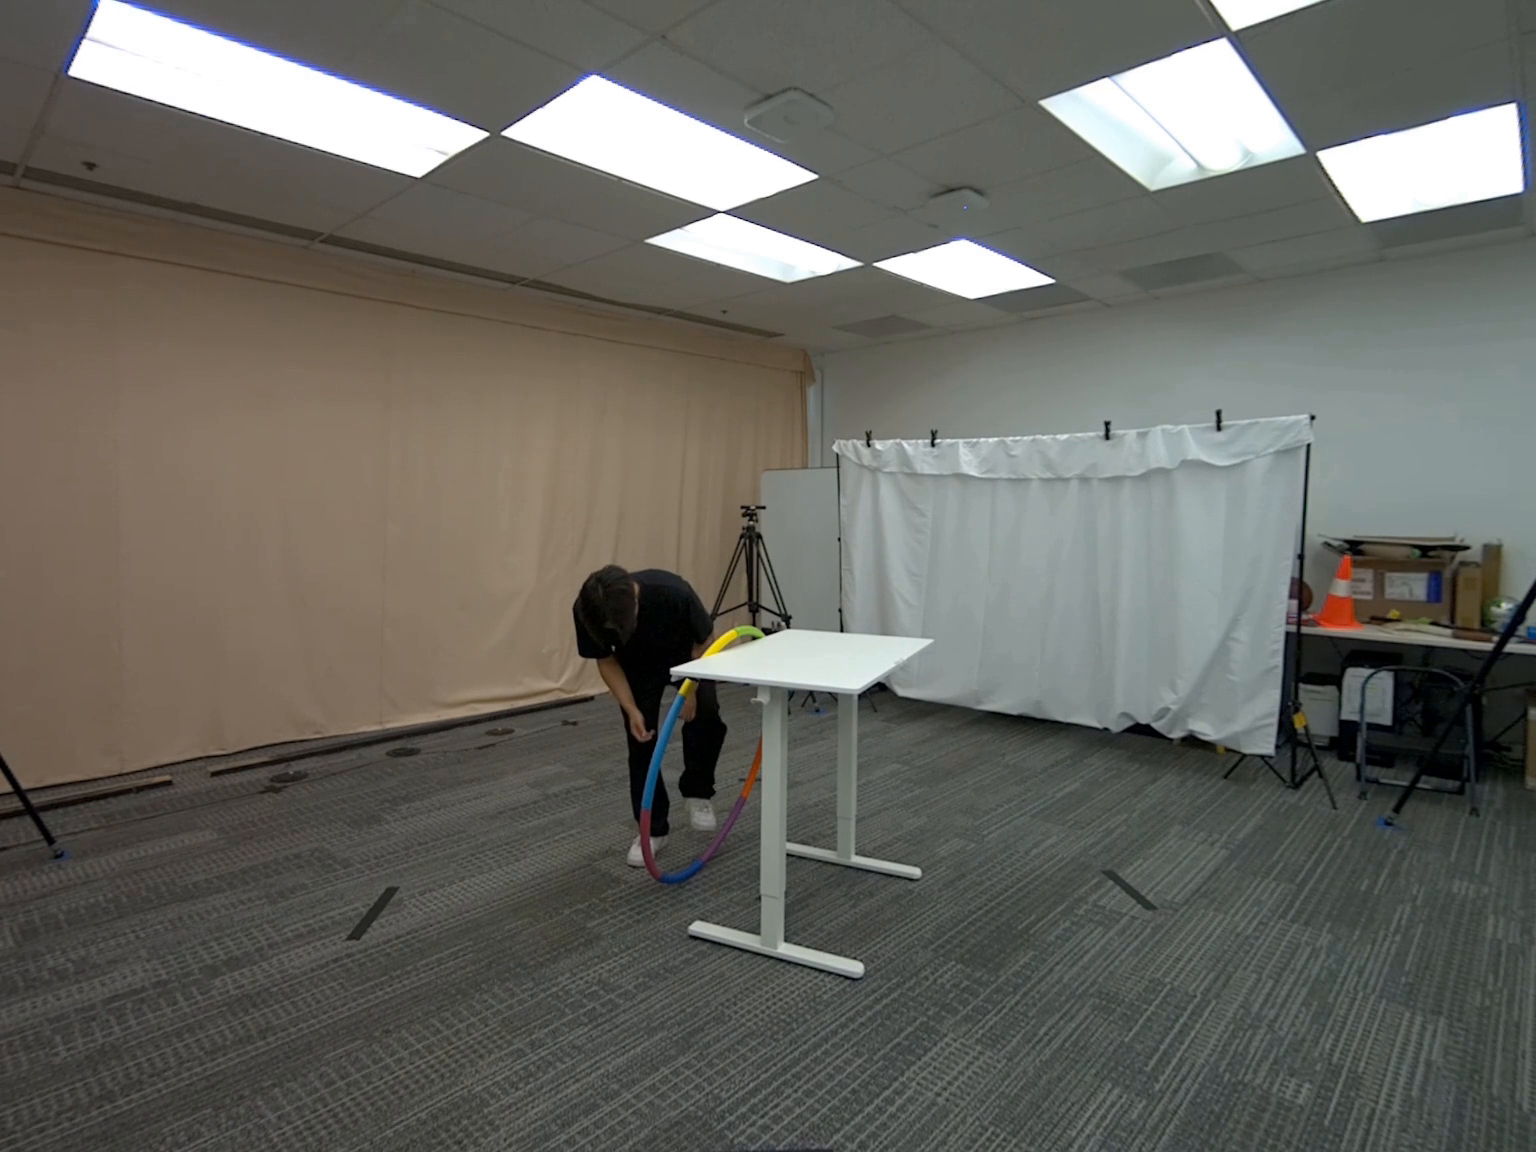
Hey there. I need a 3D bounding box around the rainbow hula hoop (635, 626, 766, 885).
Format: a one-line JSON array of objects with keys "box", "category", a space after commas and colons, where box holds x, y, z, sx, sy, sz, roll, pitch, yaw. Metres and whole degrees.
[{"box": [-0.191, 0.660, 3.137, 0.036, 0.975, 0.955, 16, 10, 23], "category": "rainbow hula hoop"}]
